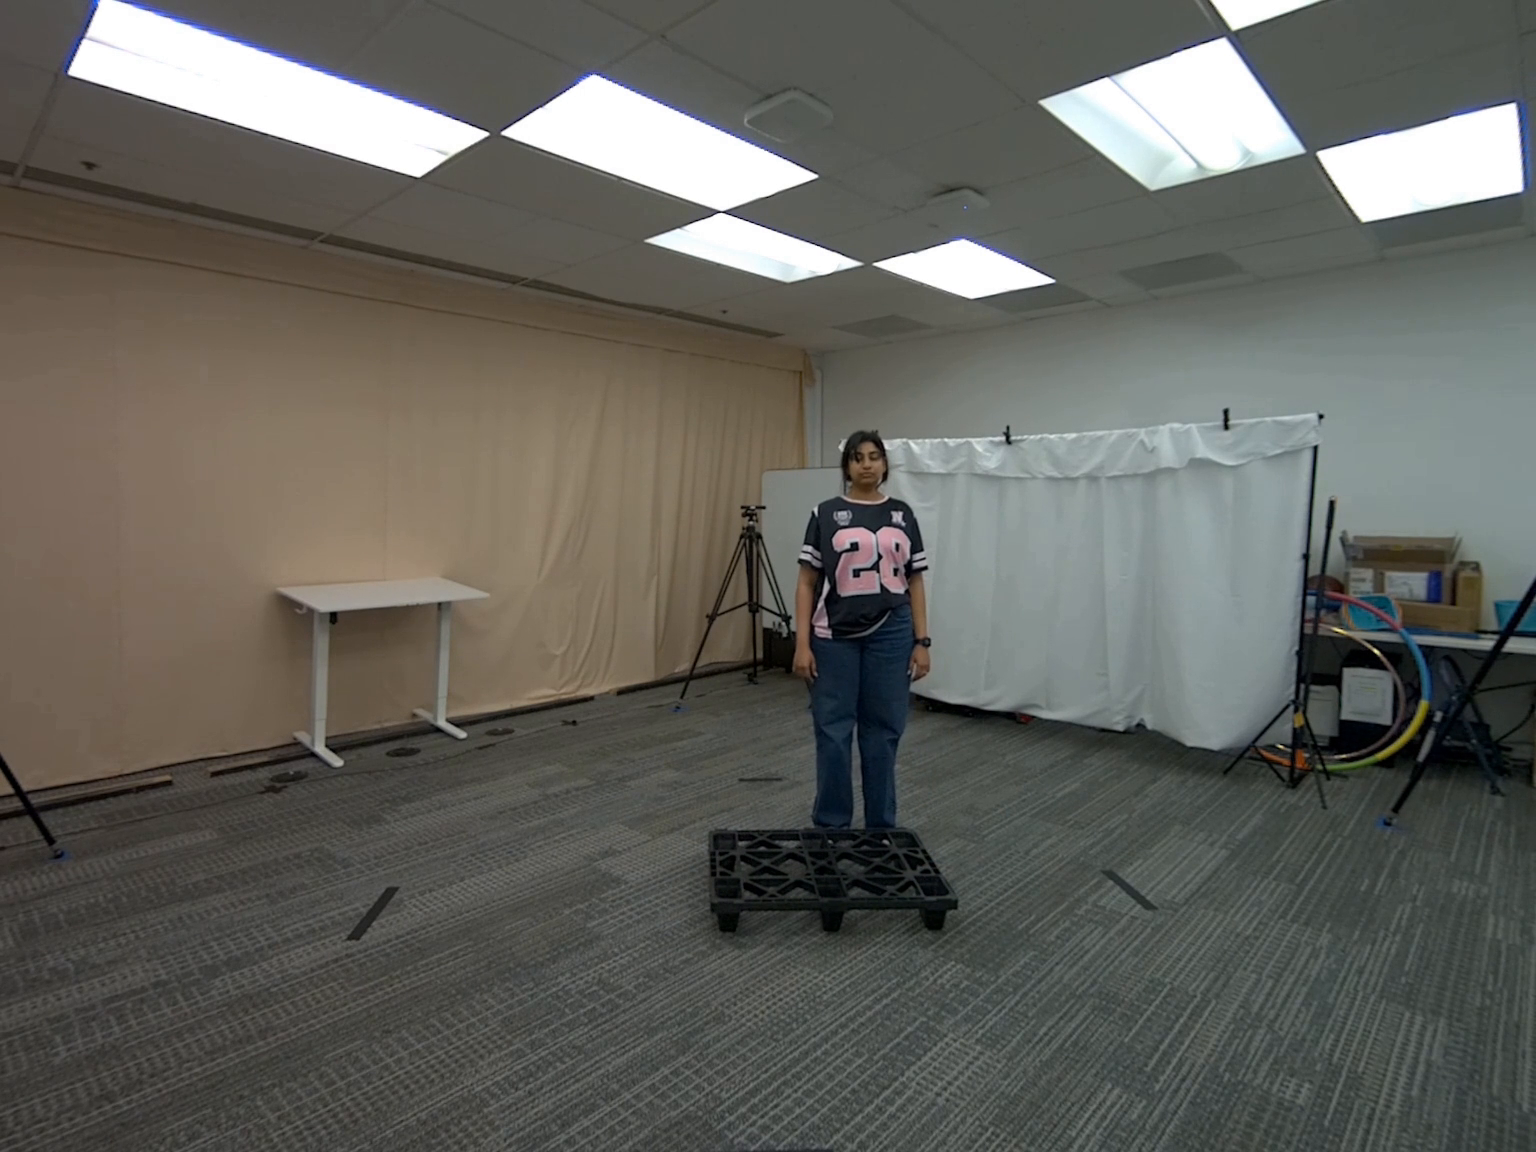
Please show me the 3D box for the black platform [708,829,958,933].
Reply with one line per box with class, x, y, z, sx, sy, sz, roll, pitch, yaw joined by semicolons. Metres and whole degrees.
black platform;0.188;1.078;2.984;0.804;0.143;0.607;0;4;-2
